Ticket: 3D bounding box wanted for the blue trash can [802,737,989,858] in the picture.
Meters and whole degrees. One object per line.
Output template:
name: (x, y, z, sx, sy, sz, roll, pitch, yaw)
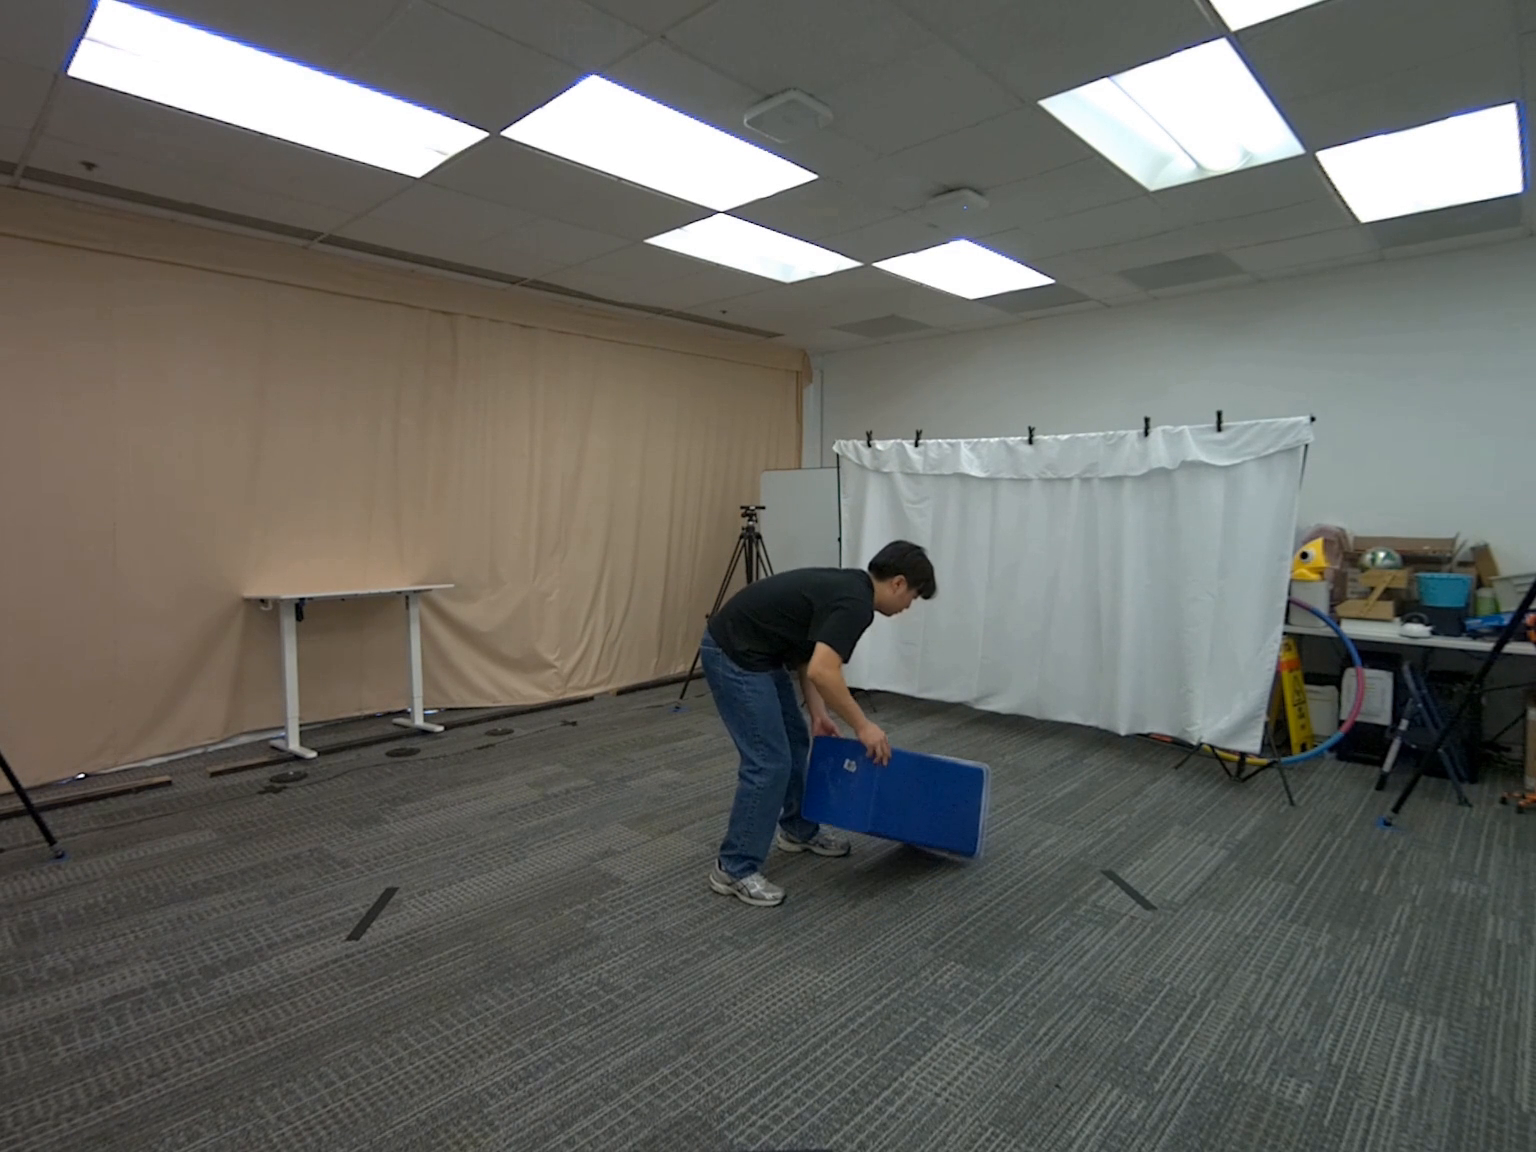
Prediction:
blue trash can: (0.497, 0.824, 3.182, 0.390, 0.376, 0.687, -1, -19, 44)
